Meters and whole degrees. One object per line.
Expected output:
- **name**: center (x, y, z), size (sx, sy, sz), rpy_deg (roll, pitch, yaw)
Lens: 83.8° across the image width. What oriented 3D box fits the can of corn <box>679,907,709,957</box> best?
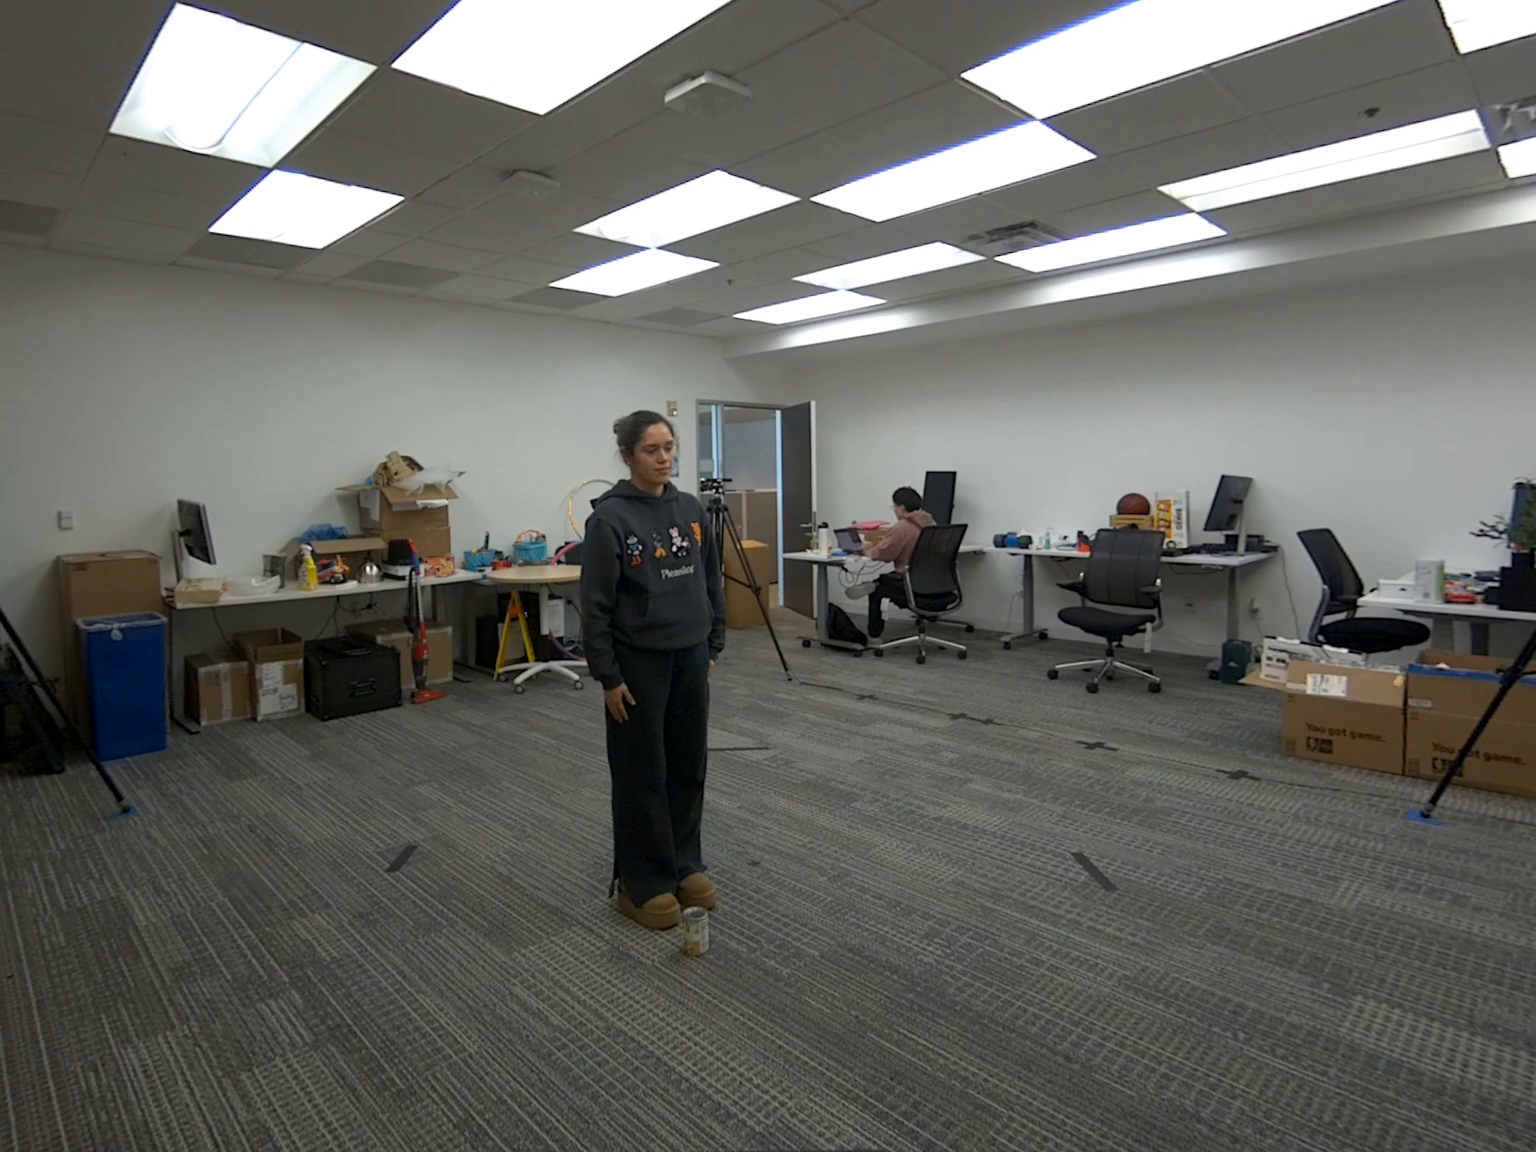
- **can of corn**: center (-0.211, 1.057, 2.518), size (0.074, 0.111, 0.074), rpy_deg (1, -1, -2)
